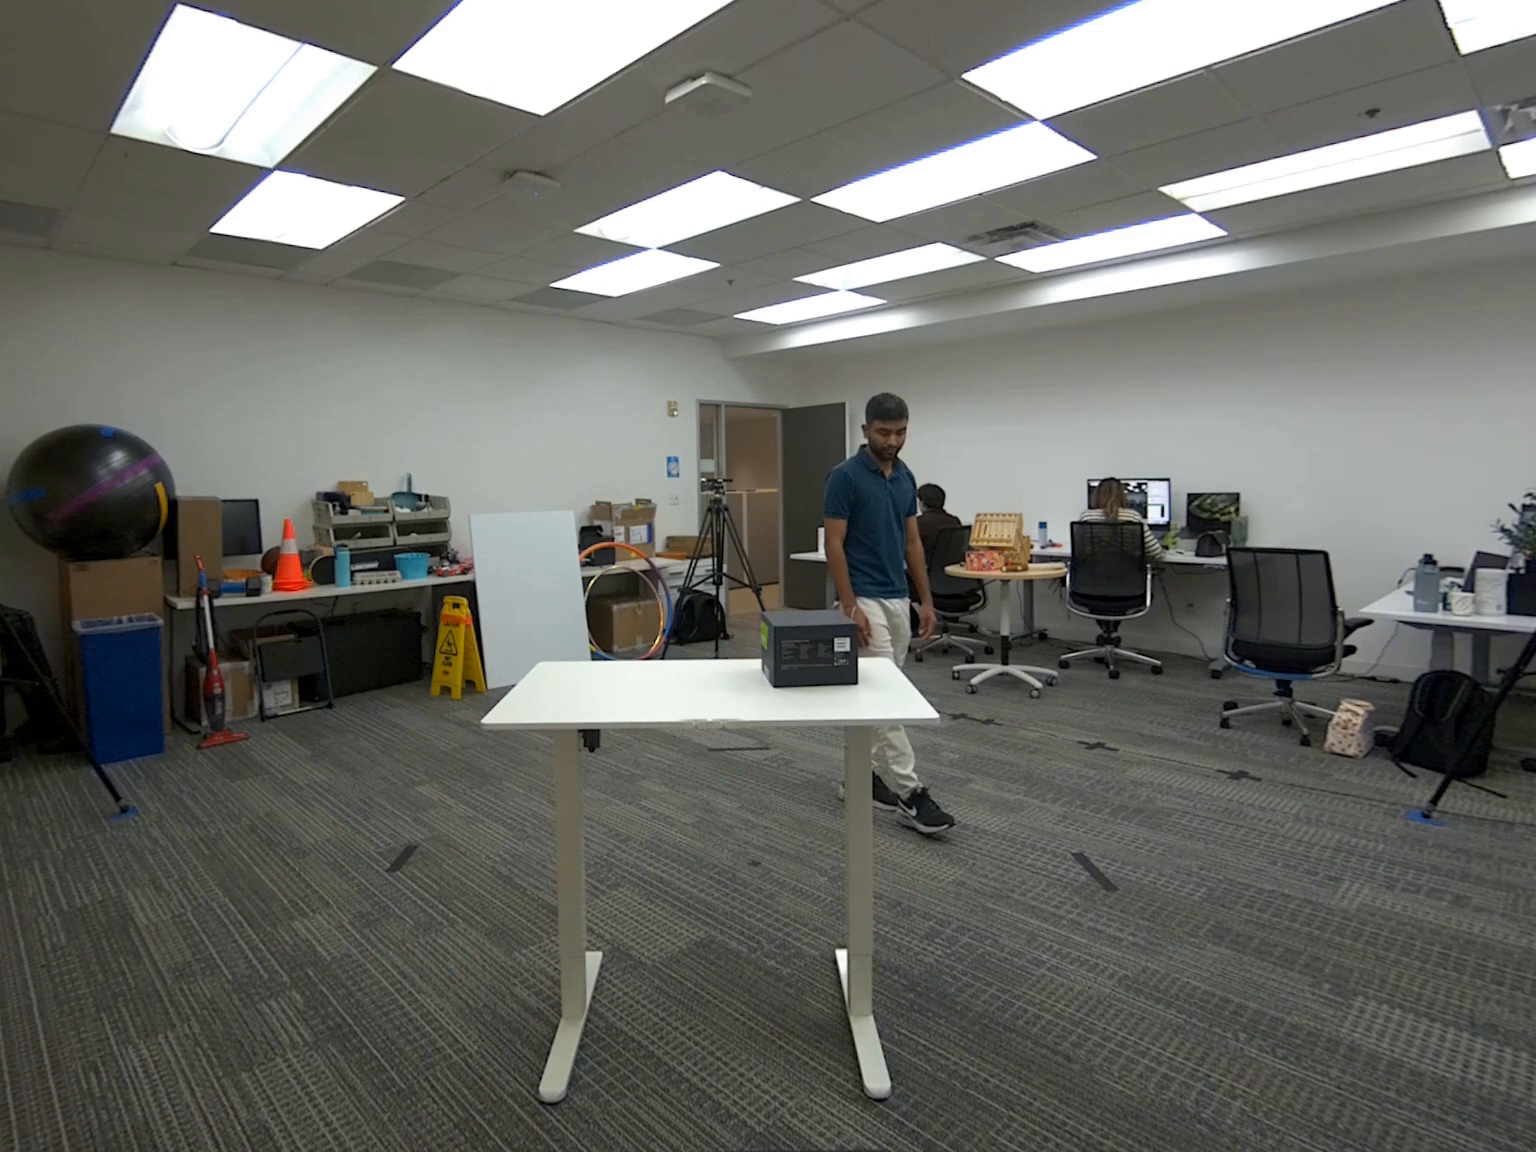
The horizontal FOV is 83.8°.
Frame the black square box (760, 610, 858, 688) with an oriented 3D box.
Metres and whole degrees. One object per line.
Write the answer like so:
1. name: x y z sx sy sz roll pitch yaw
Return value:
1. black square box: 0.091 0.185 2.225 0.217 0.155 0.230 -1 8 -2
